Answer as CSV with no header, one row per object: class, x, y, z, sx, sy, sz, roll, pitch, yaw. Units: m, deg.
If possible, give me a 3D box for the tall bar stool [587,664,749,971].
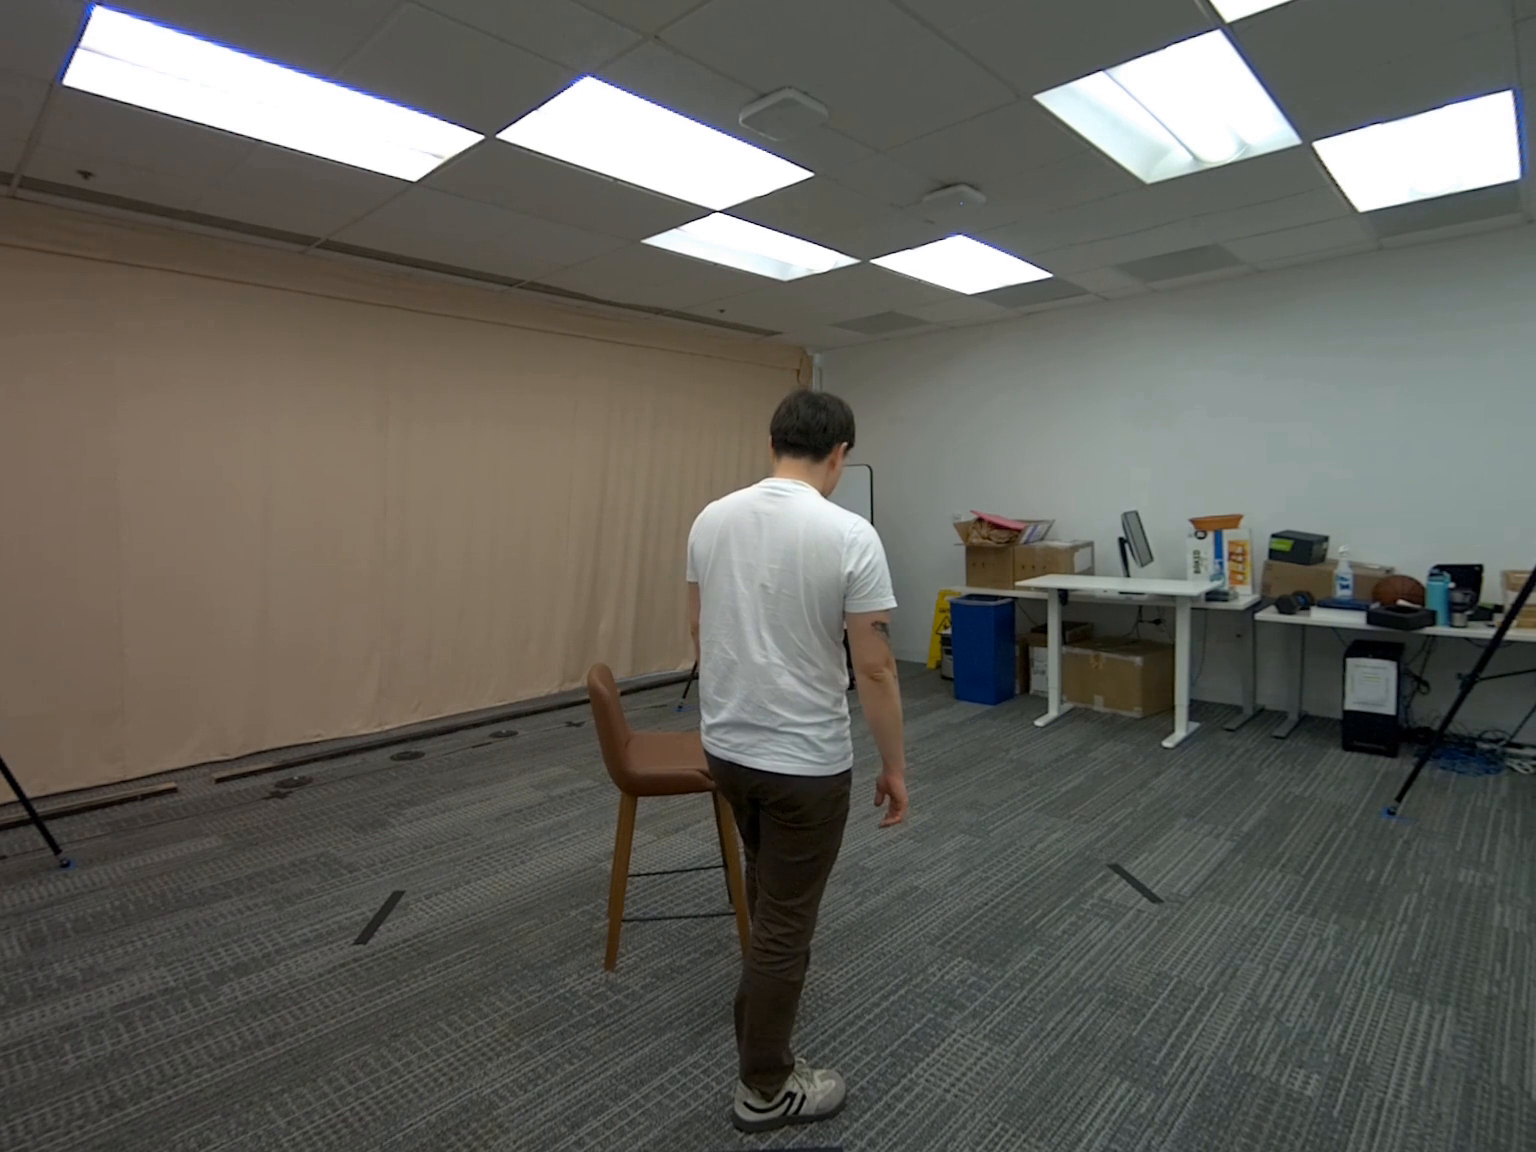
tall bar stool,-0.313,0.734,2.715,0.464,0.888,0.461,-3,3,-8
